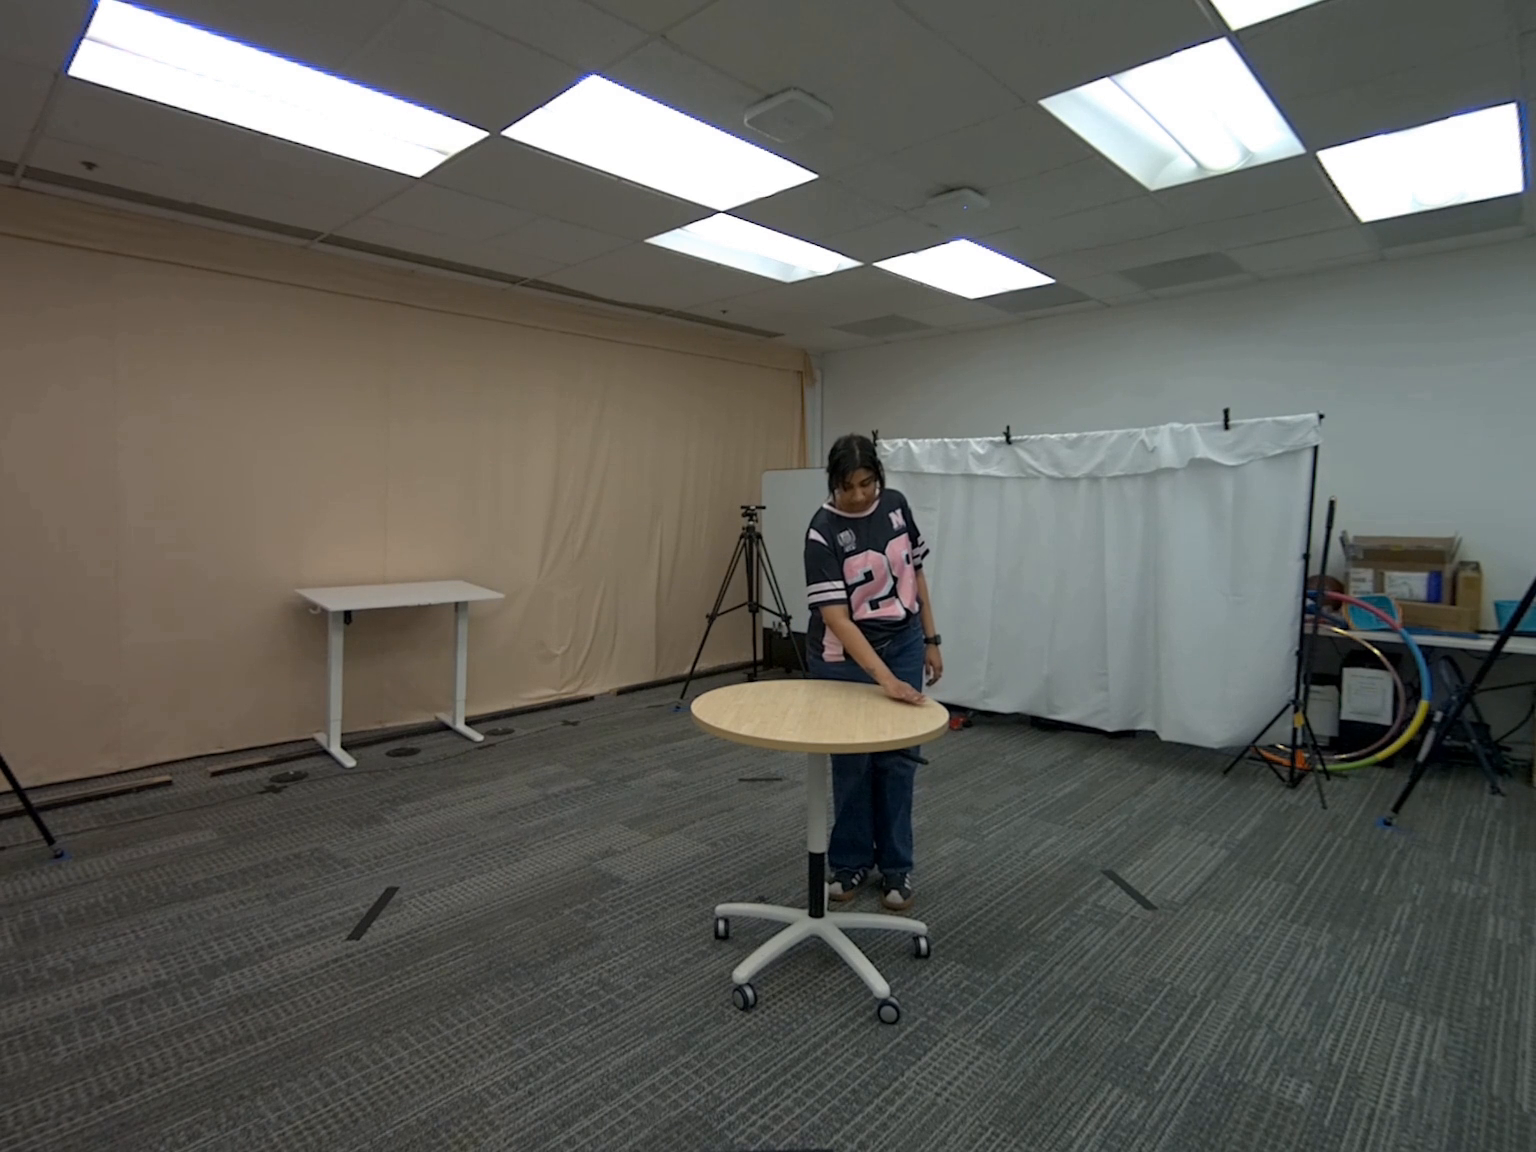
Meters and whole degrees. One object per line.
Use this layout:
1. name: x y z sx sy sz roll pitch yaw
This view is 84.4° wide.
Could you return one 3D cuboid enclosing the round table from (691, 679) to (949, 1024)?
1. round table: 0.165 0.788 2.552 0.784 0.785 0.788 0 4 -2
